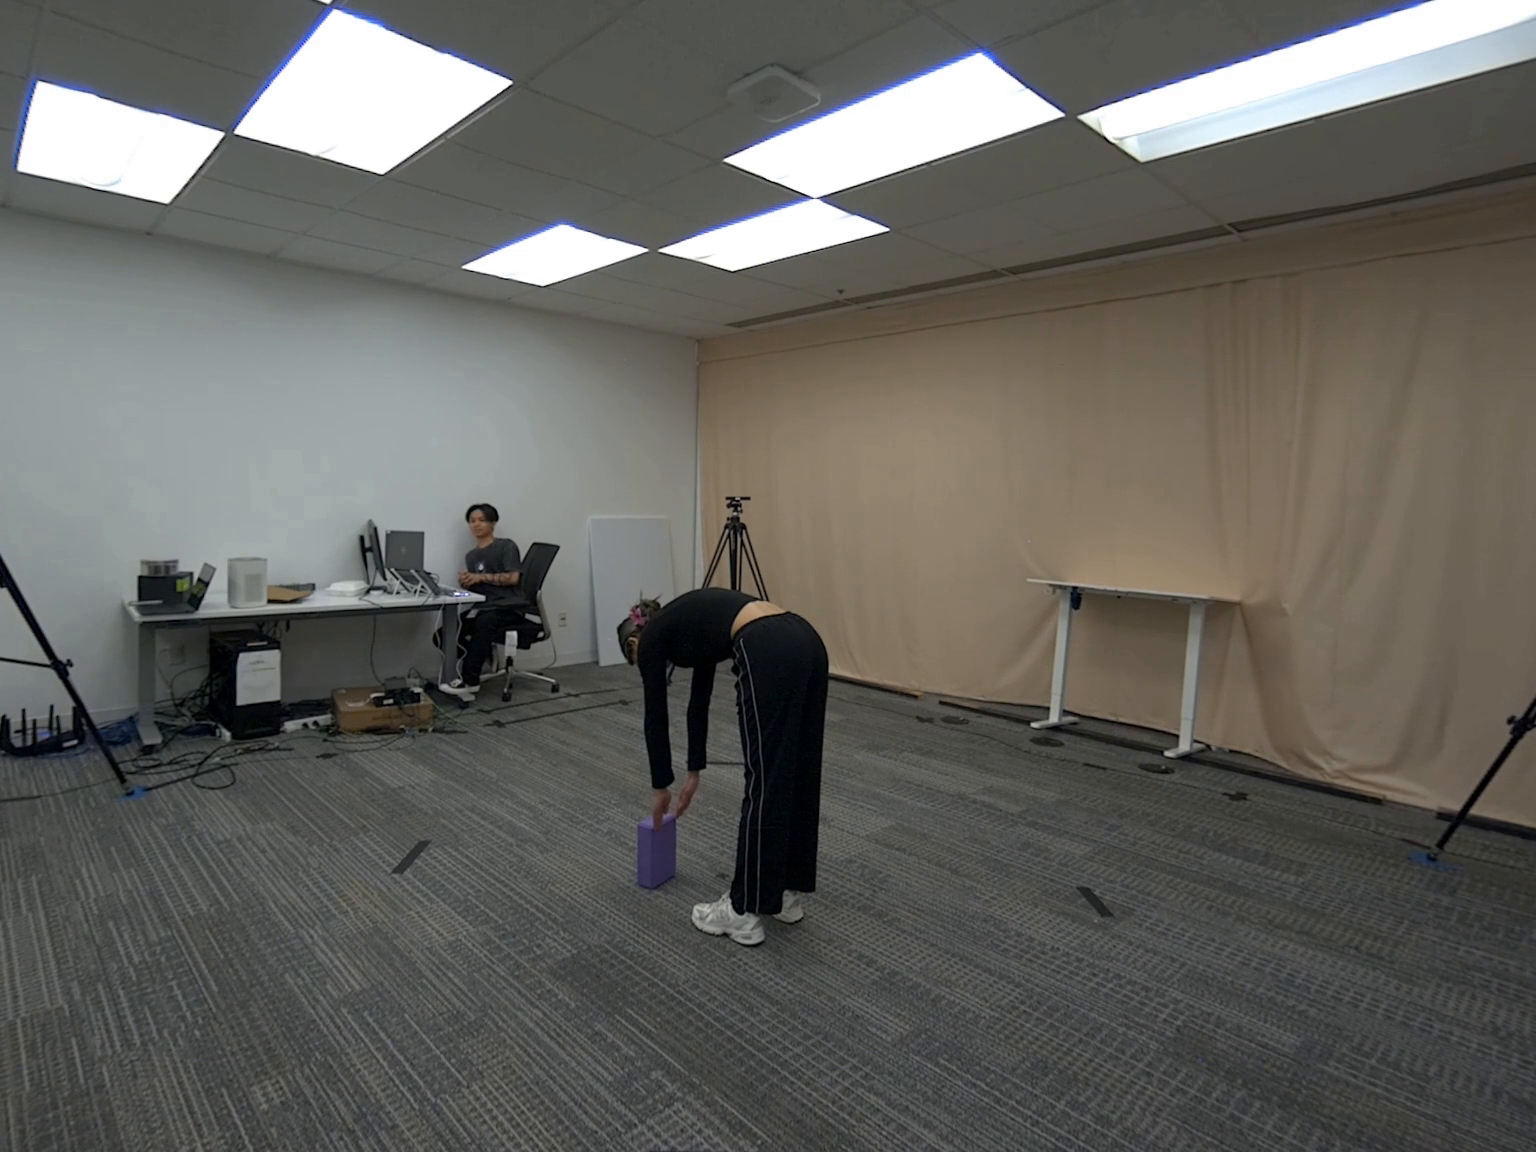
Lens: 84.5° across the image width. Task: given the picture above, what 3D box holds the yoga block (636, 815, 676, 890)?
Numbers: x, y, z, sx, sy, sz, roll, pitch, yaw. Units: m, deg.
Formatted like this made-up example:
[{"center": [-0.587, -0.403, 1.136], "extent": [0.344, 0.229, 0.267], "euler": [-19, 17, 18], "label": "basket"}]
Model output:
[{"center": [-0.408, 0.992, 3.043], "extent": [0.078, 0.229, 0.146], "euler": [4, 5, 29], "label": "yoga block"}]
